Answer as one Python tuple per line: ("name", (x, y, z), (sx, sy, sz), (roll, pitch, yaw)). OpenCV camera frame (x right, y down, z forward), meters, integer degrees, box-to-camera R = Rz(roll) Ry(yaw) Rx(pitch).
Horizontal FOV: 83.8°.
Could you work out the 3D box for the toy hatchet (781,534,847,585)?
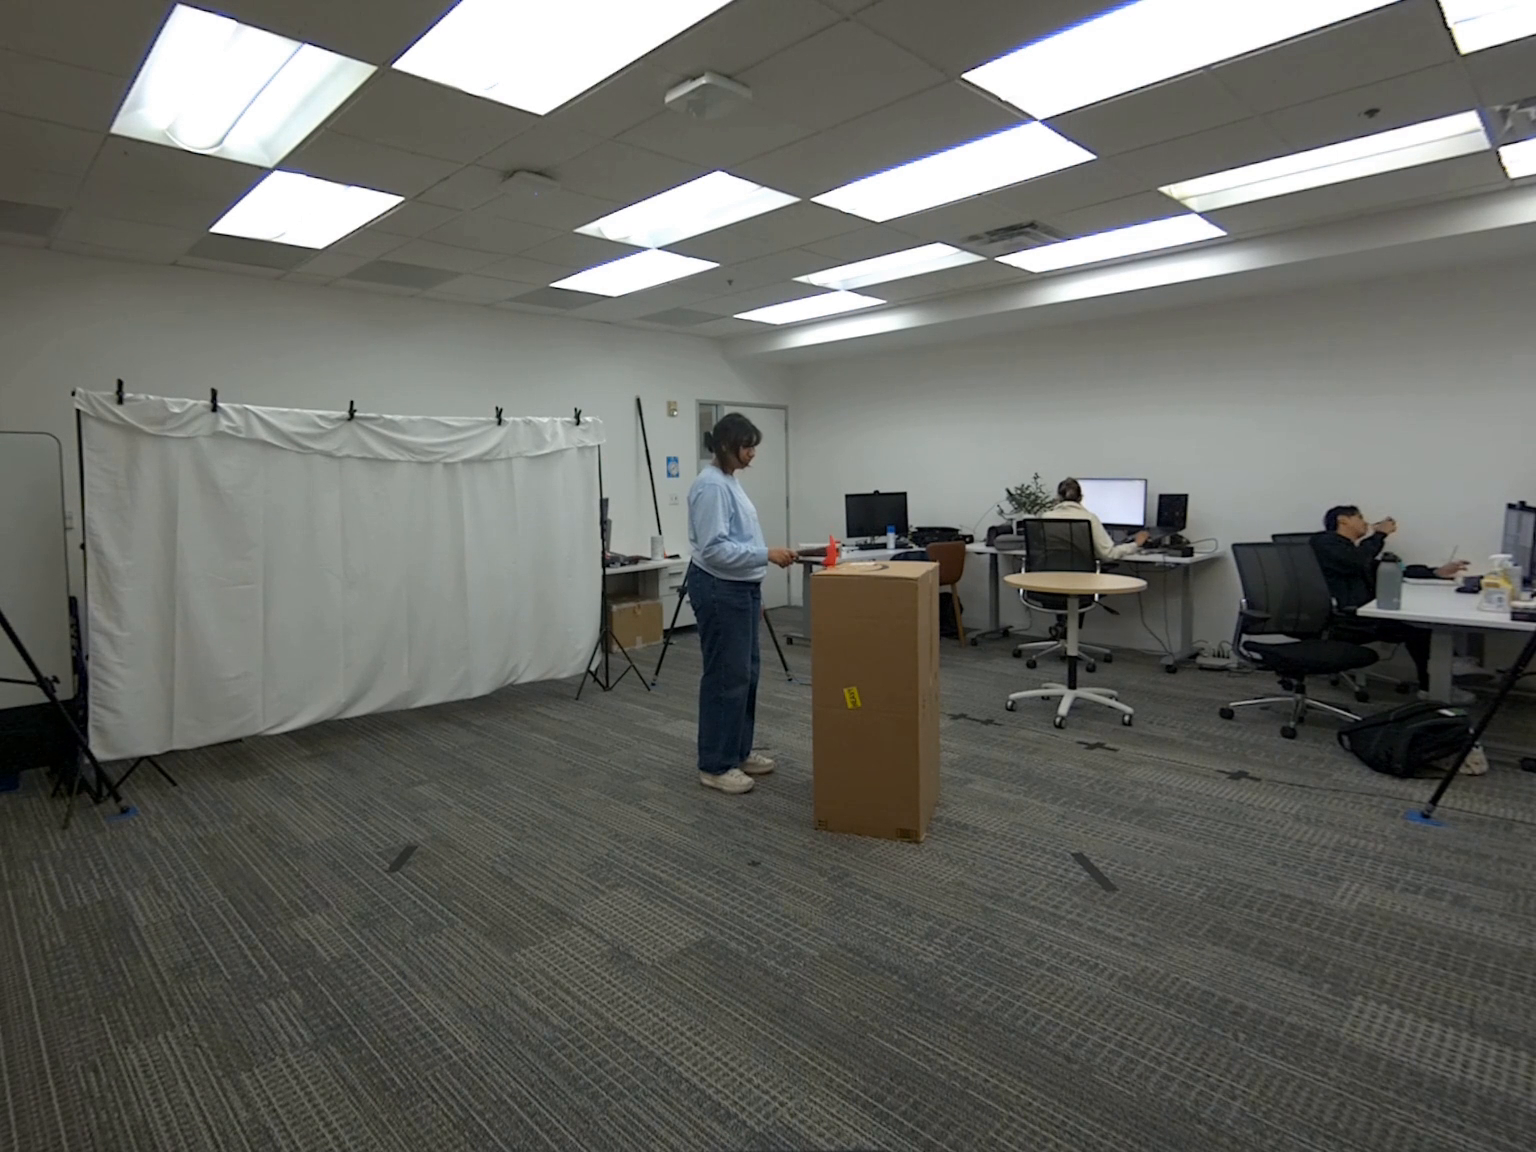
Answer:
("toy hatchet", (0.187, -0.074, 3.683), (0.269, 0.130, 0.030), (-20, 7, -3))
